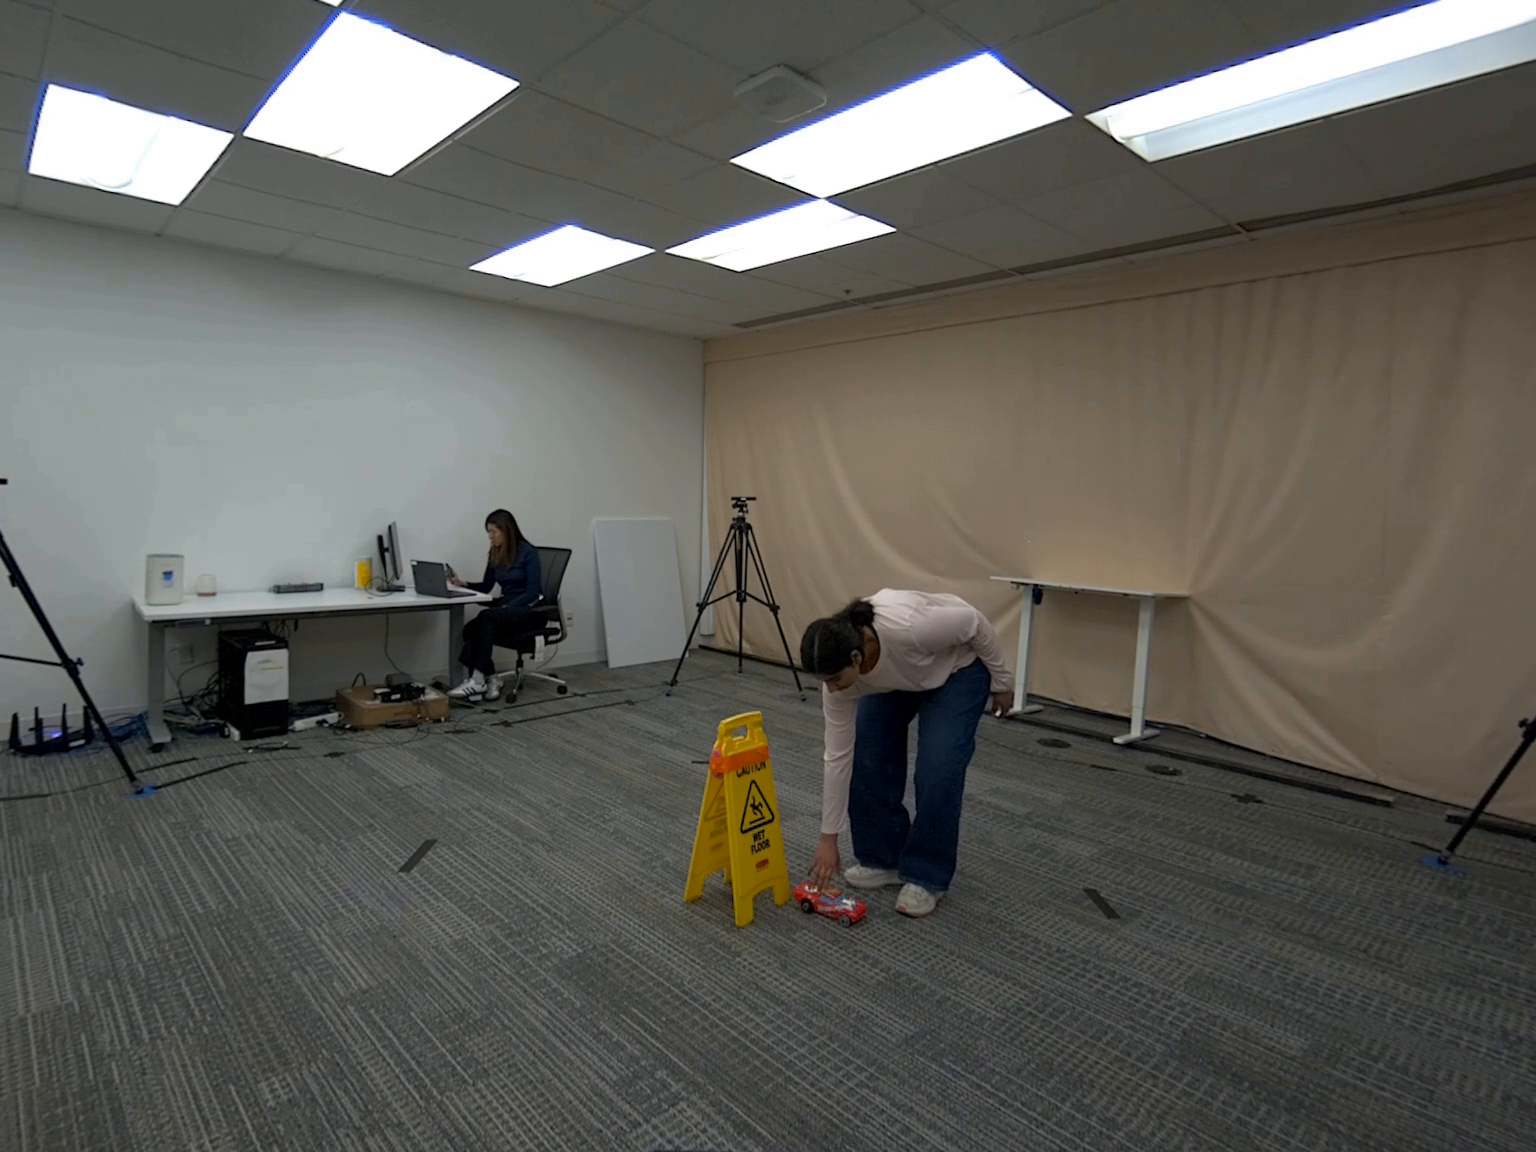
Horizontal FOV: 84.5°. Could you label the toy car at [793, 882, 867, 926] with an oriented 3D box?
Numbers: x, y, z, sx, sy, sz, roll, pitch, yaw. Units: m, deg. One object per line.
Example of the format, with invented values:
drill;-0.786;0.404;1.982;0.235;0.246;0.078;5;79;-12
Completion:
toy car;0.196;1.104;2.847;0.262;0.083;0.127;18;13;34
